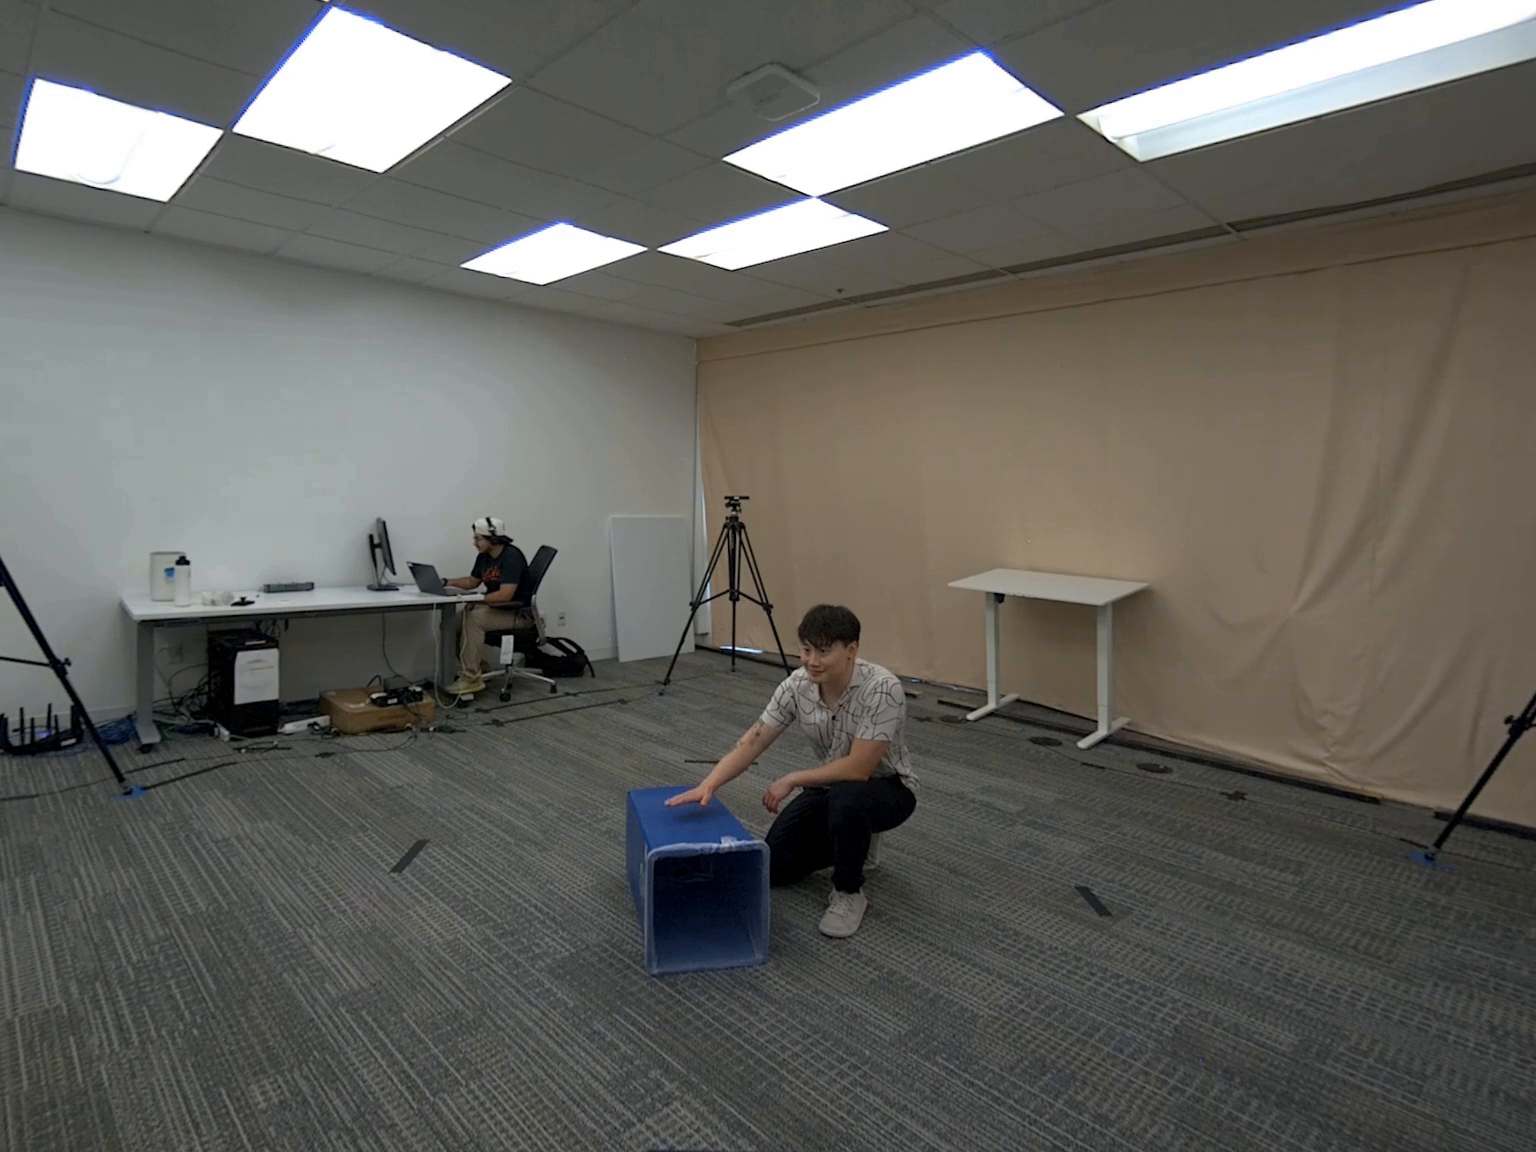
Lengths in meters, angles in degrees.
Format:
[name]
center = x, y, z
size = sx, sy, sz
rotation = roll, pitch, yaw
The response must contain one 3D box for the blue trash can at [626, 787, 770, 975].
[blue trash can]
center = -0.274, 0.959, 2.807
size = 0.373, 0.374, 0.722
rotation = 1, 1, -16
